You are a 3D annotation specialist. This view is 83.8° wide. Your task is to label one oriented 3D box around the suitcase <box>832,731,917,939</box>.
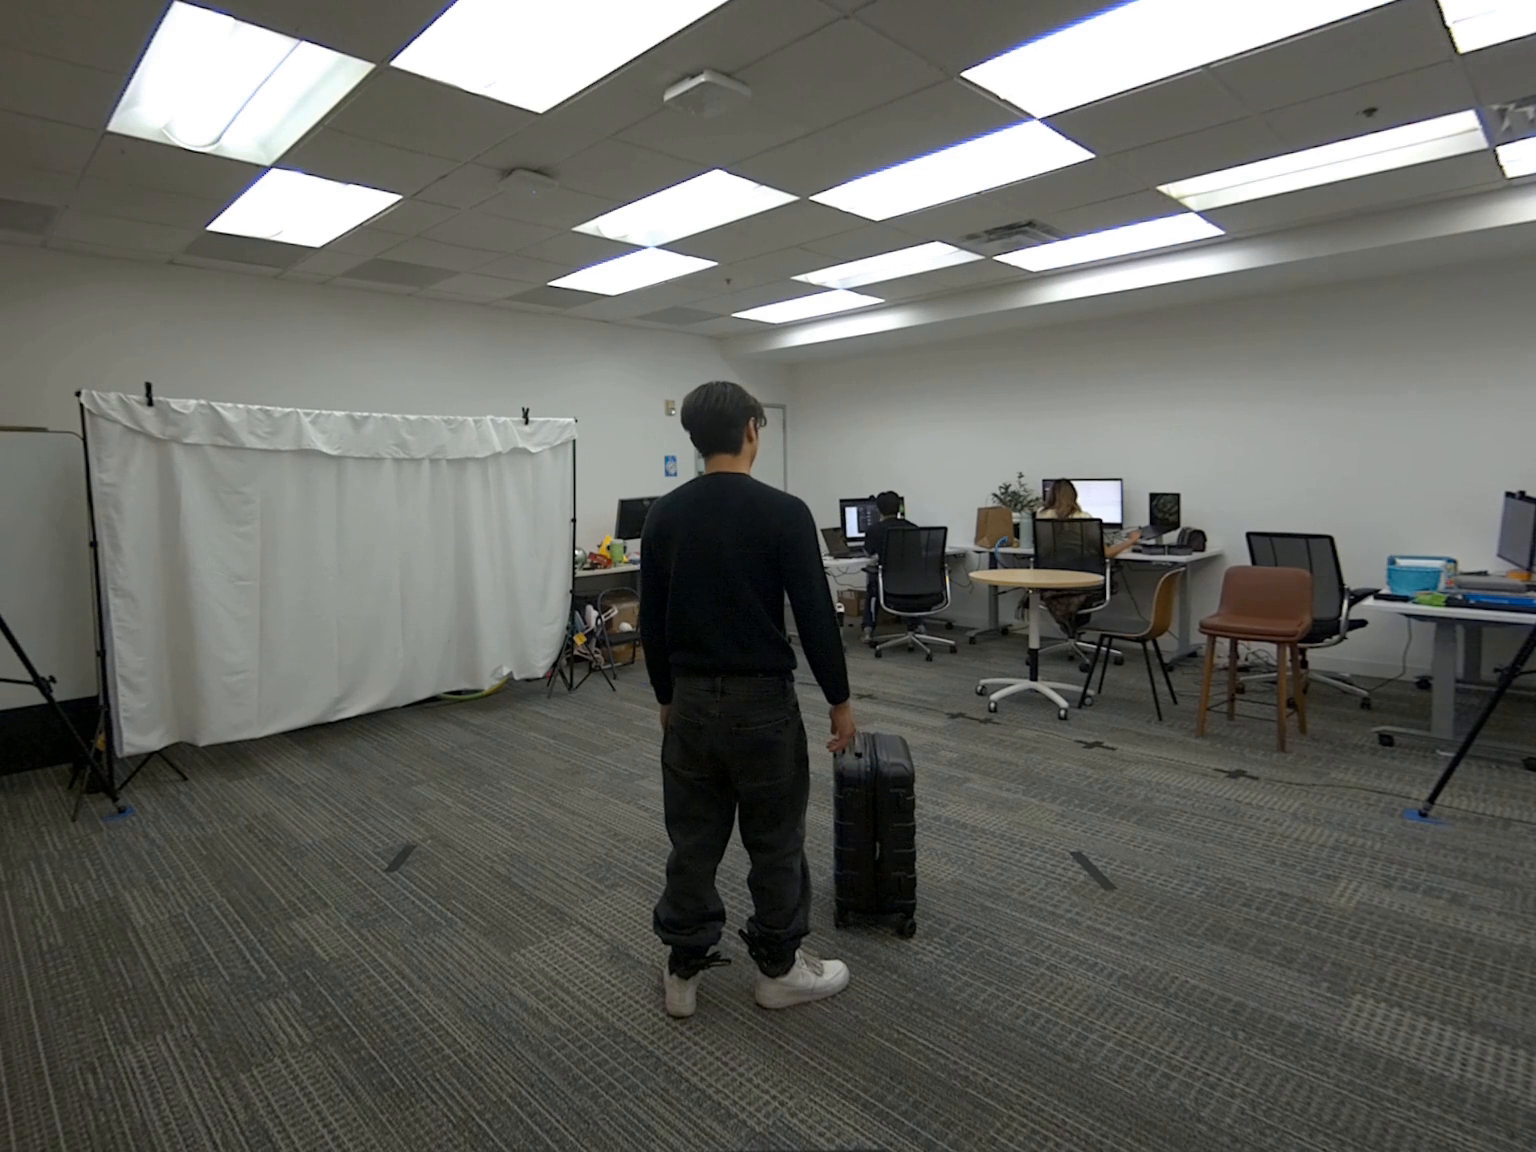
[{"bbox_3d":[0.347,0.598,2.734,0.258,0.974,0.384,1,5,4],"label":"suitcase"}]
